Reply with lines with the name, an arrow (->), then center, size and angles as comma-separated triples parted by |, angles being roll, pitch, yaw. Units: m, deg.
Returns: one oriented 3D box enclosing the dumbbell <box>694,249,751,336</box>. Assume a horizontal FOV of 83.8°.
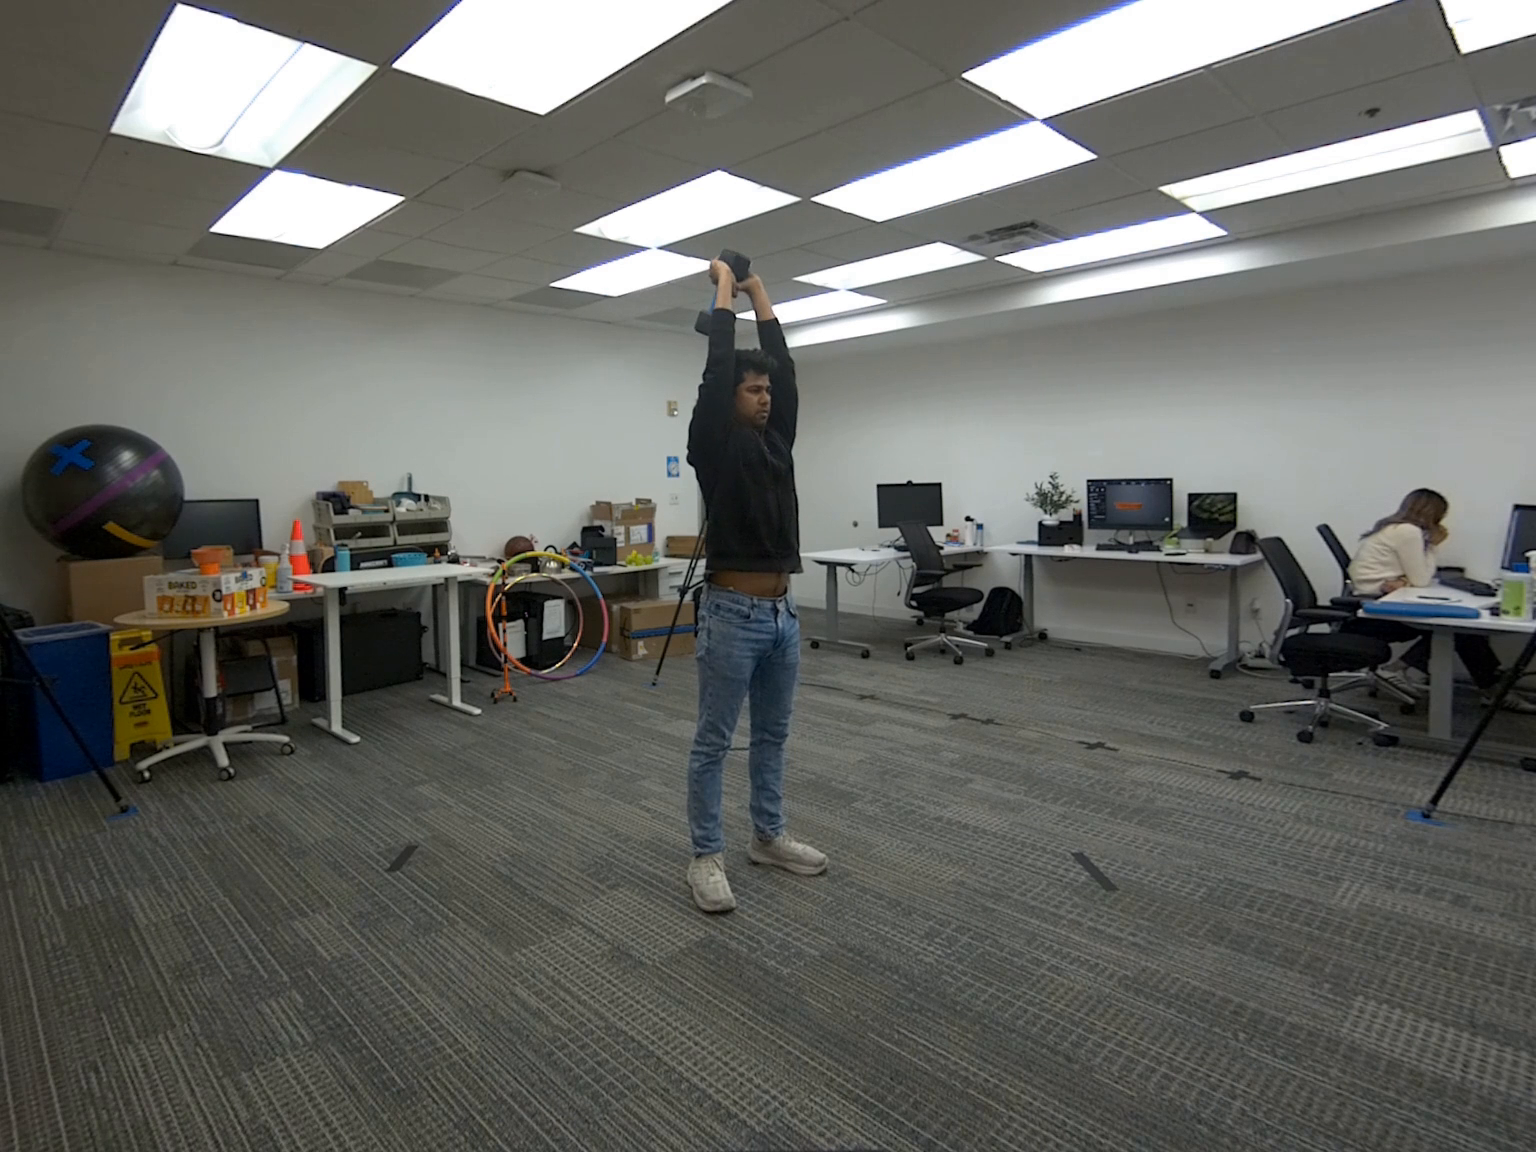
dumbbell -> -0.153, -0.959, 2.932 | 0.119, 0.292, 0.113 | 15, 15, -32
